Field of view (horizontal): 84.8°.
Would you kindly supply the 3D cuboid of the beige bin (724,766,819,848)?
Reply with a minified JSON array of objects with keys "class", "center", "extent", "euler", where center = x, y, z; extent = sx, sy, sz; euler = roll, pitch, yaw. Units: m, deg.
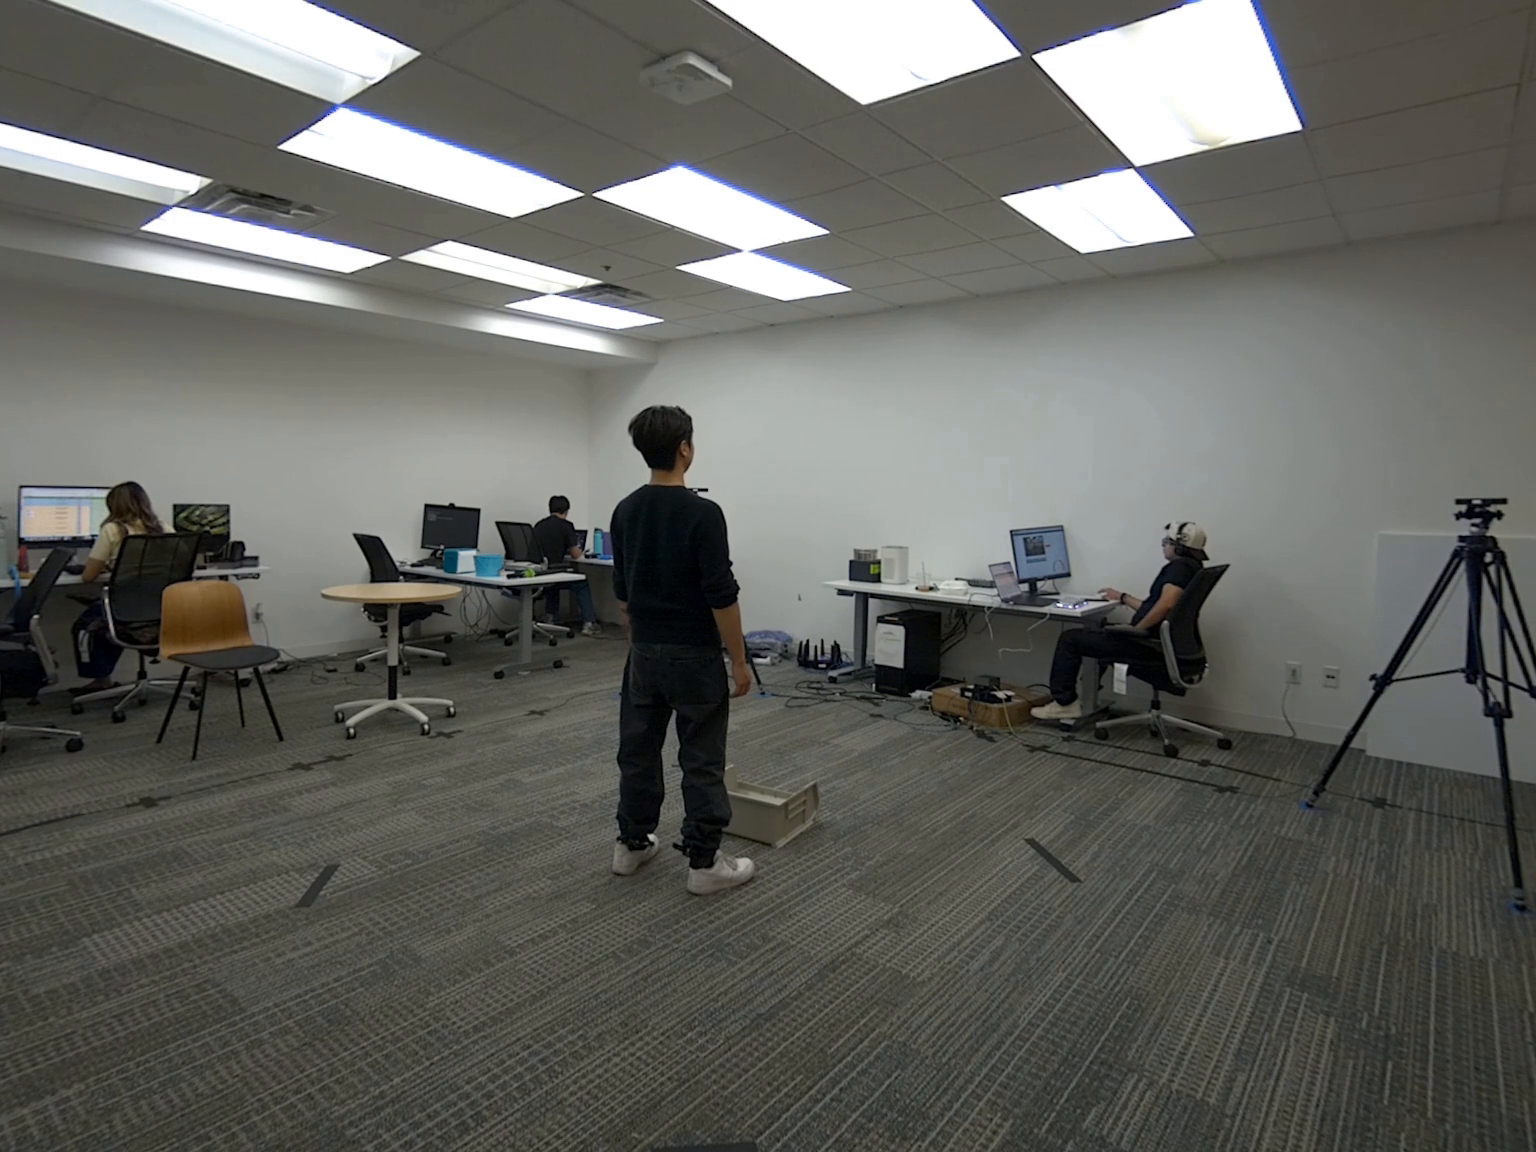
[{"class":"beige bin","center":[-0.061,0.941,3.554],"extent":[0.435,0.188,0.368],"euler":[4,7,30]}]
